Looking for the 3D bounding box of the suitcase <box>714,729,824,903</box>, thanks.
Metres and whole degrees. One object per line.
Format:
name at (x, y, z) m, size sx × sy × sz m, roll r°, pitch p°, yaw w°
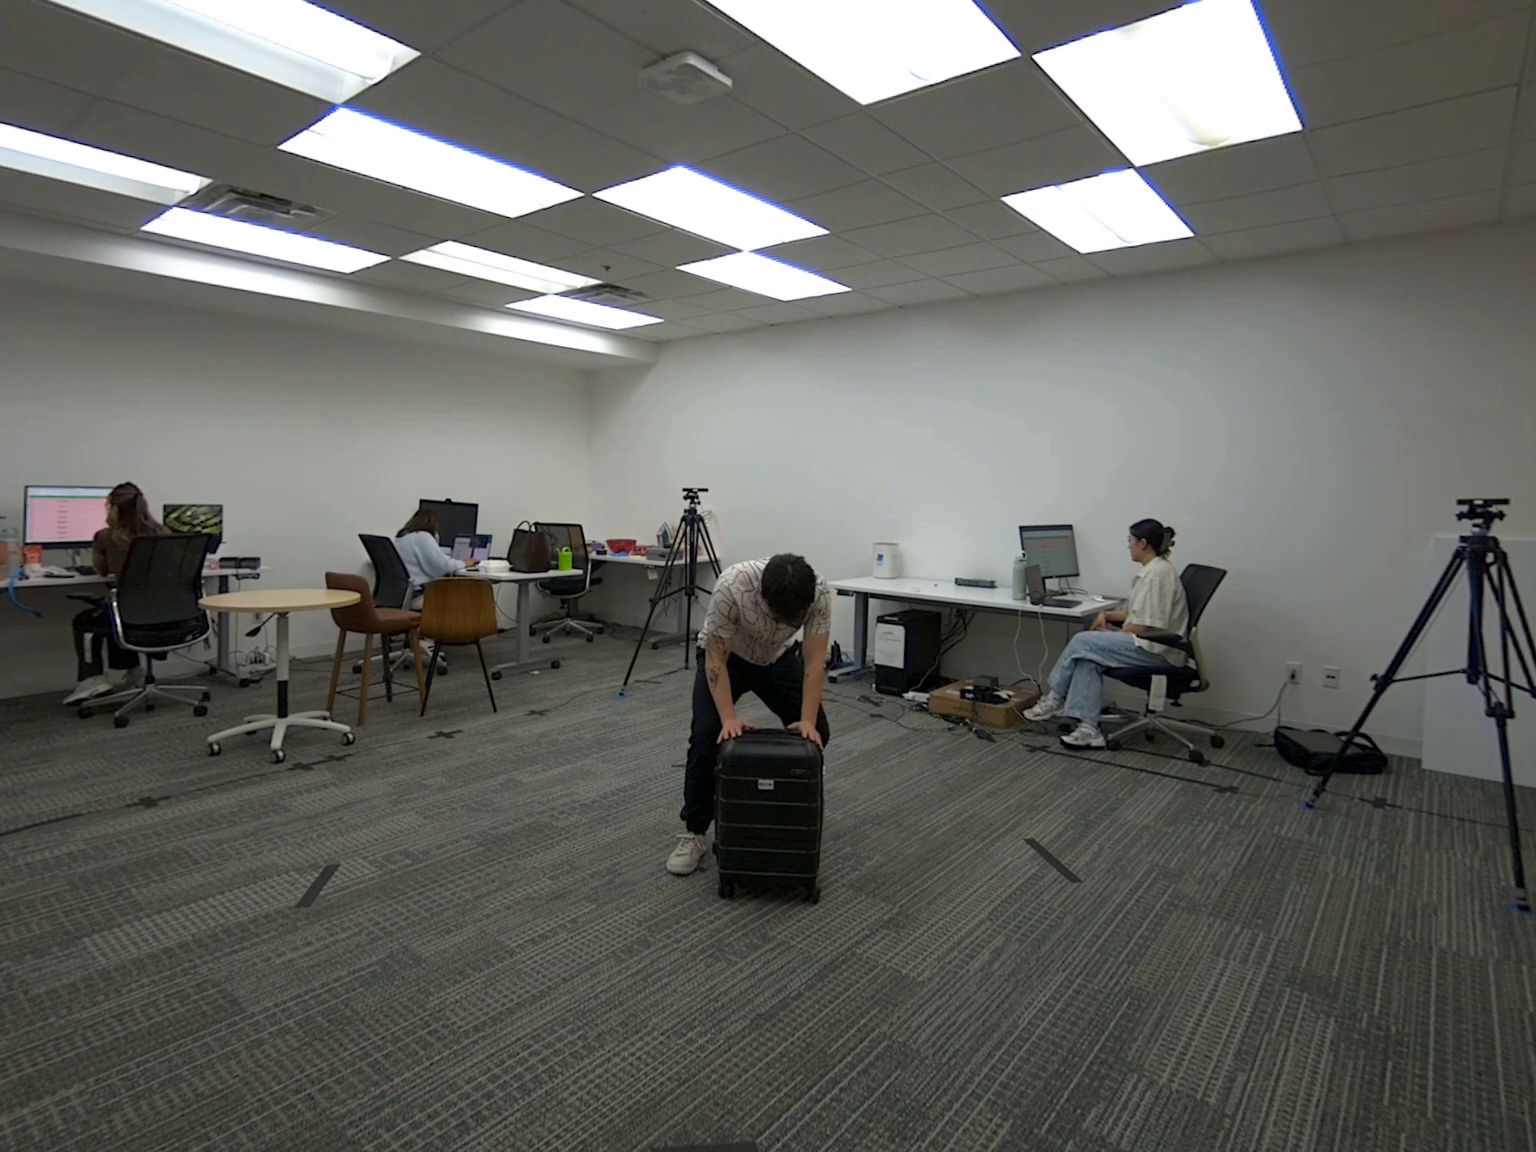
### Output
suitcase at (-0.004, 0.807, 2.969) m, size 0.378 × 0.548 × 0.247 m, roll 1°, pitch 3°, yaw 5°
